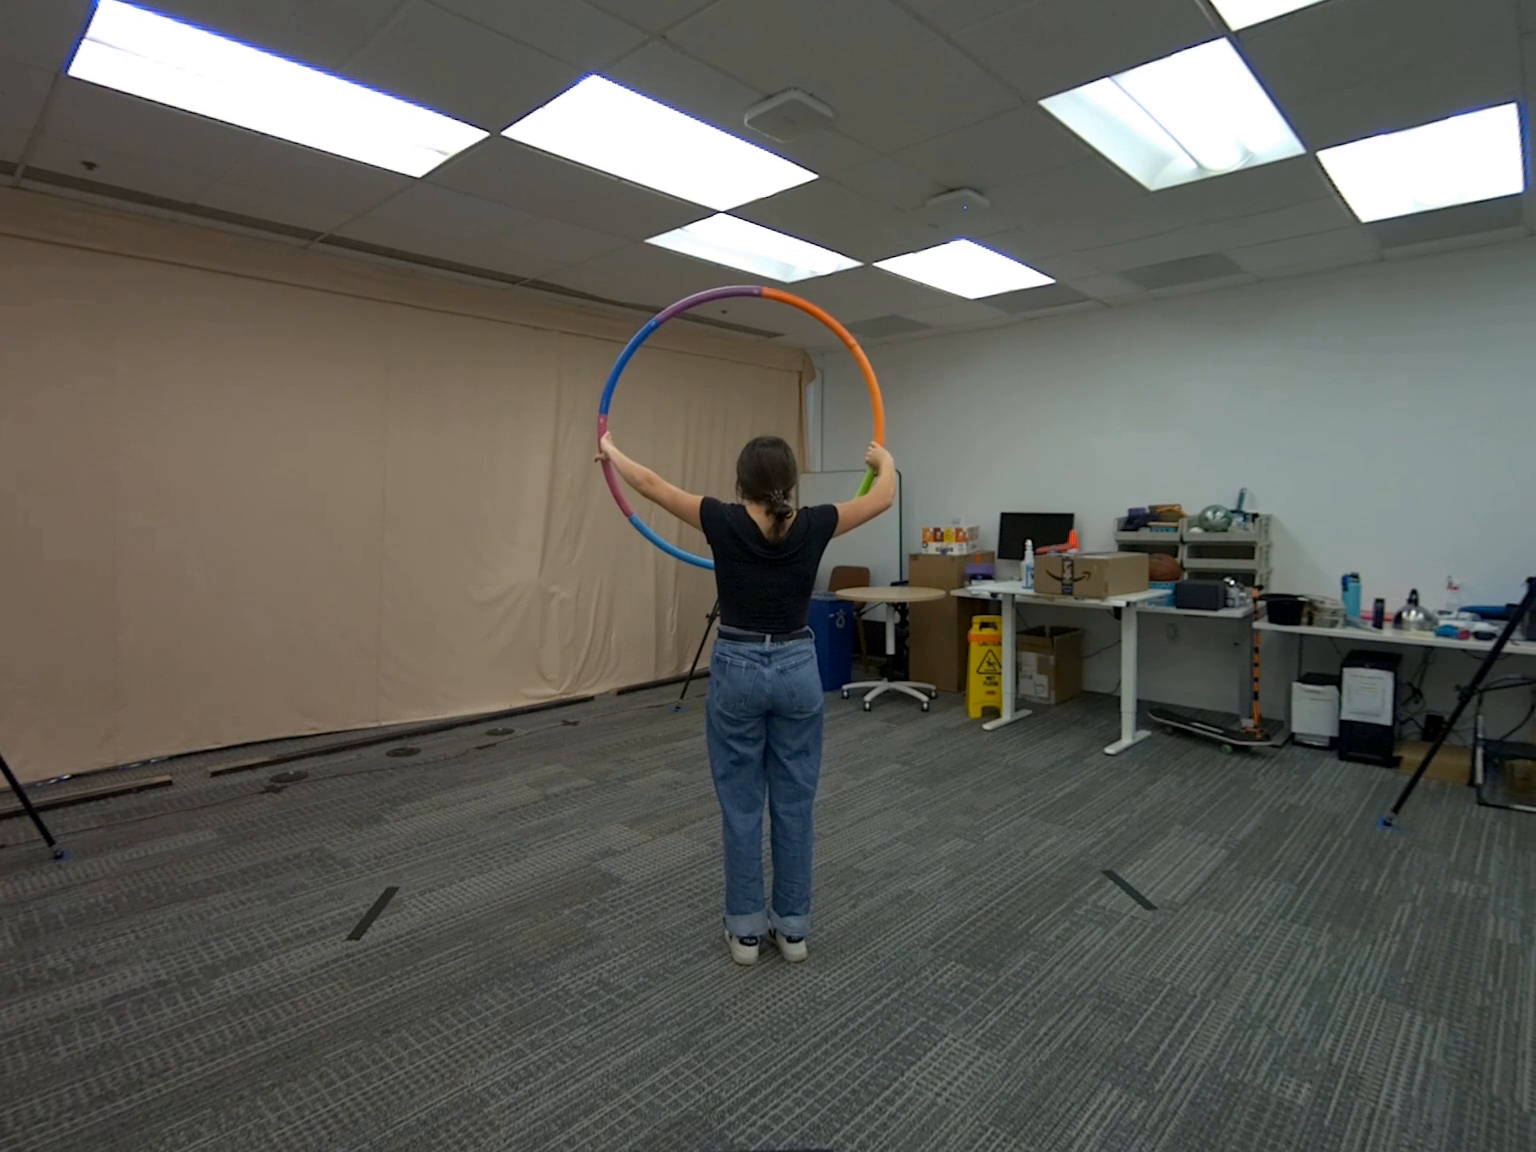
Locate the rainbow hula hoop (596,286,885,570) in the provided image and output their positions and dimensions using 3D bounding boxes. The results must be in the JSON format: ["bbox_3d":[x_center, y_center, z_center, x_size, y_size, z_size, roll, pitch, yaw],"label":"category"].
[{"bbox_3d":[-0.080,-0.491,2.916,0.975,0.973,0.036,0,8,-3],"label":"rainbow hula hoop"}]
